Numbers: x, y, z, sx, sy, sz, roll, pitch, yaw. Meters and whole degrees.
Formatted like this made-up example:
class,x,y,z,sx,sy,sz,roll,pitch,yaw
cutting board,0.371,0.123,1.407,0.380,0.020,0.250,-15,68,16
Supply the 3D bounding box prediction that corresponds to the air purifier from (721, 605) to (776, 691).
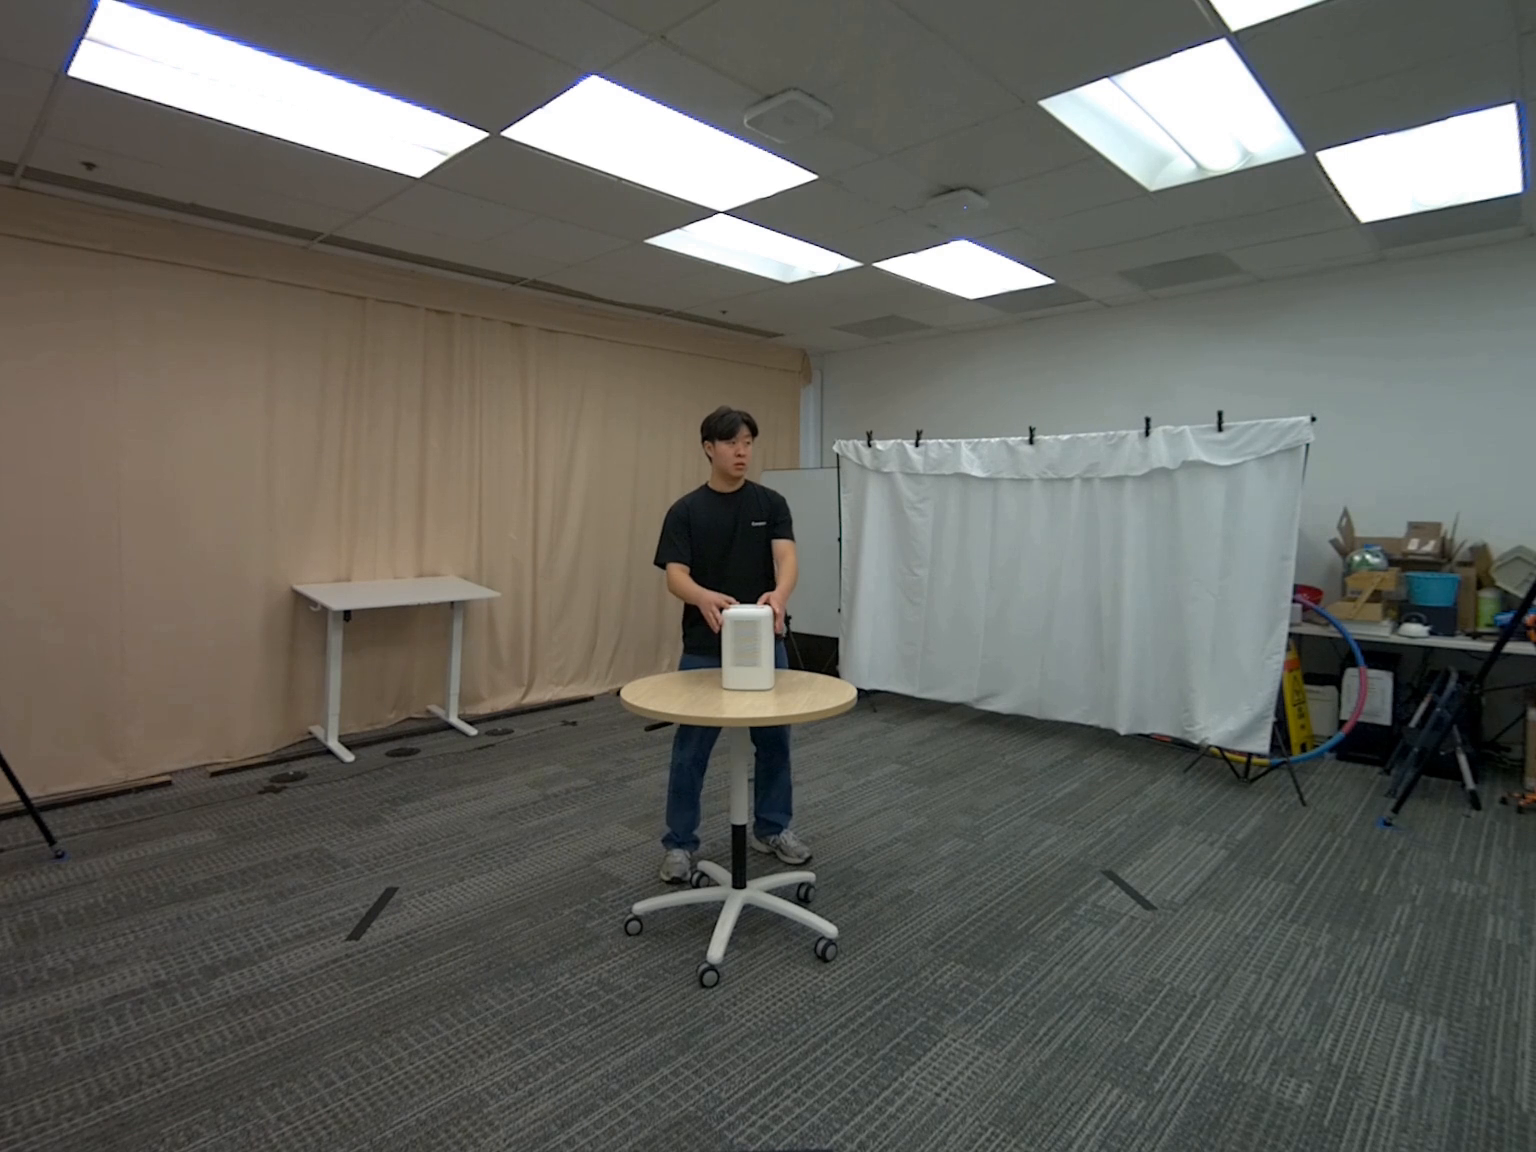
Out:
class,x,y,z,sx,sy,sz,roll,pitch,yaw
air purifier,-0.062,0.234,2.793,0.173,0.265,0.170,2,3,6
